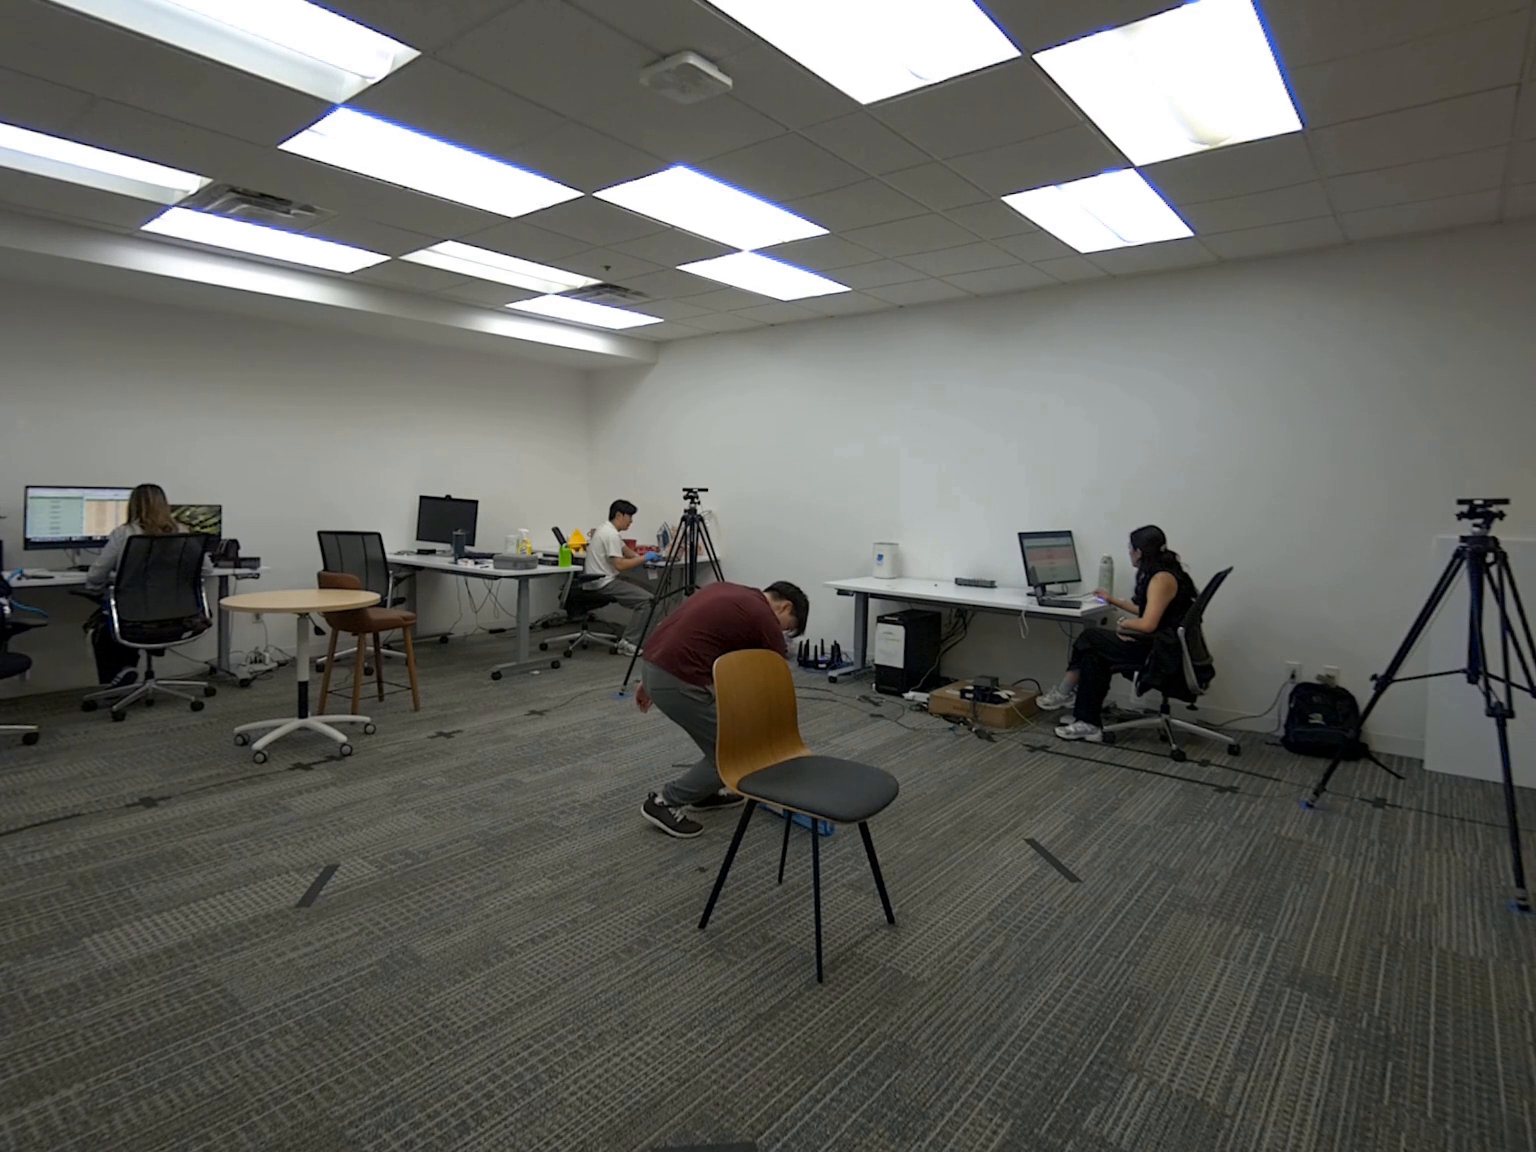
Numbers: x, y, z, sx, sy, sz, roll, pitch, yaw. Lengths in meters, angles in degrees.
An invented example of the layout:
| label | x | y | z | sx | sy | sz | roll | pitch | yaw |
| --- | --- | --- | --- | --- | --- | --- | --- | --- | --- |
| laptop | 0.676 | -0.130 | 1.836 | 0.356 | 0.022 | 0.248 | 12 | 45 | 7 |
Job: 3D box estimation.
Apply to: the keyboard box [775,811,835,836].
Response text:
| label | x | y | z | sx | sy | sz | roll | pitch | yaw |
| --- | --- | --- | --- | --- | --- | --- | --- | --- | --- |
| keyboard box | 0.089 | 0.921 | 3.585 | 0.057 | 0.175 | 0.452 | -8 | 10 | -41 |
